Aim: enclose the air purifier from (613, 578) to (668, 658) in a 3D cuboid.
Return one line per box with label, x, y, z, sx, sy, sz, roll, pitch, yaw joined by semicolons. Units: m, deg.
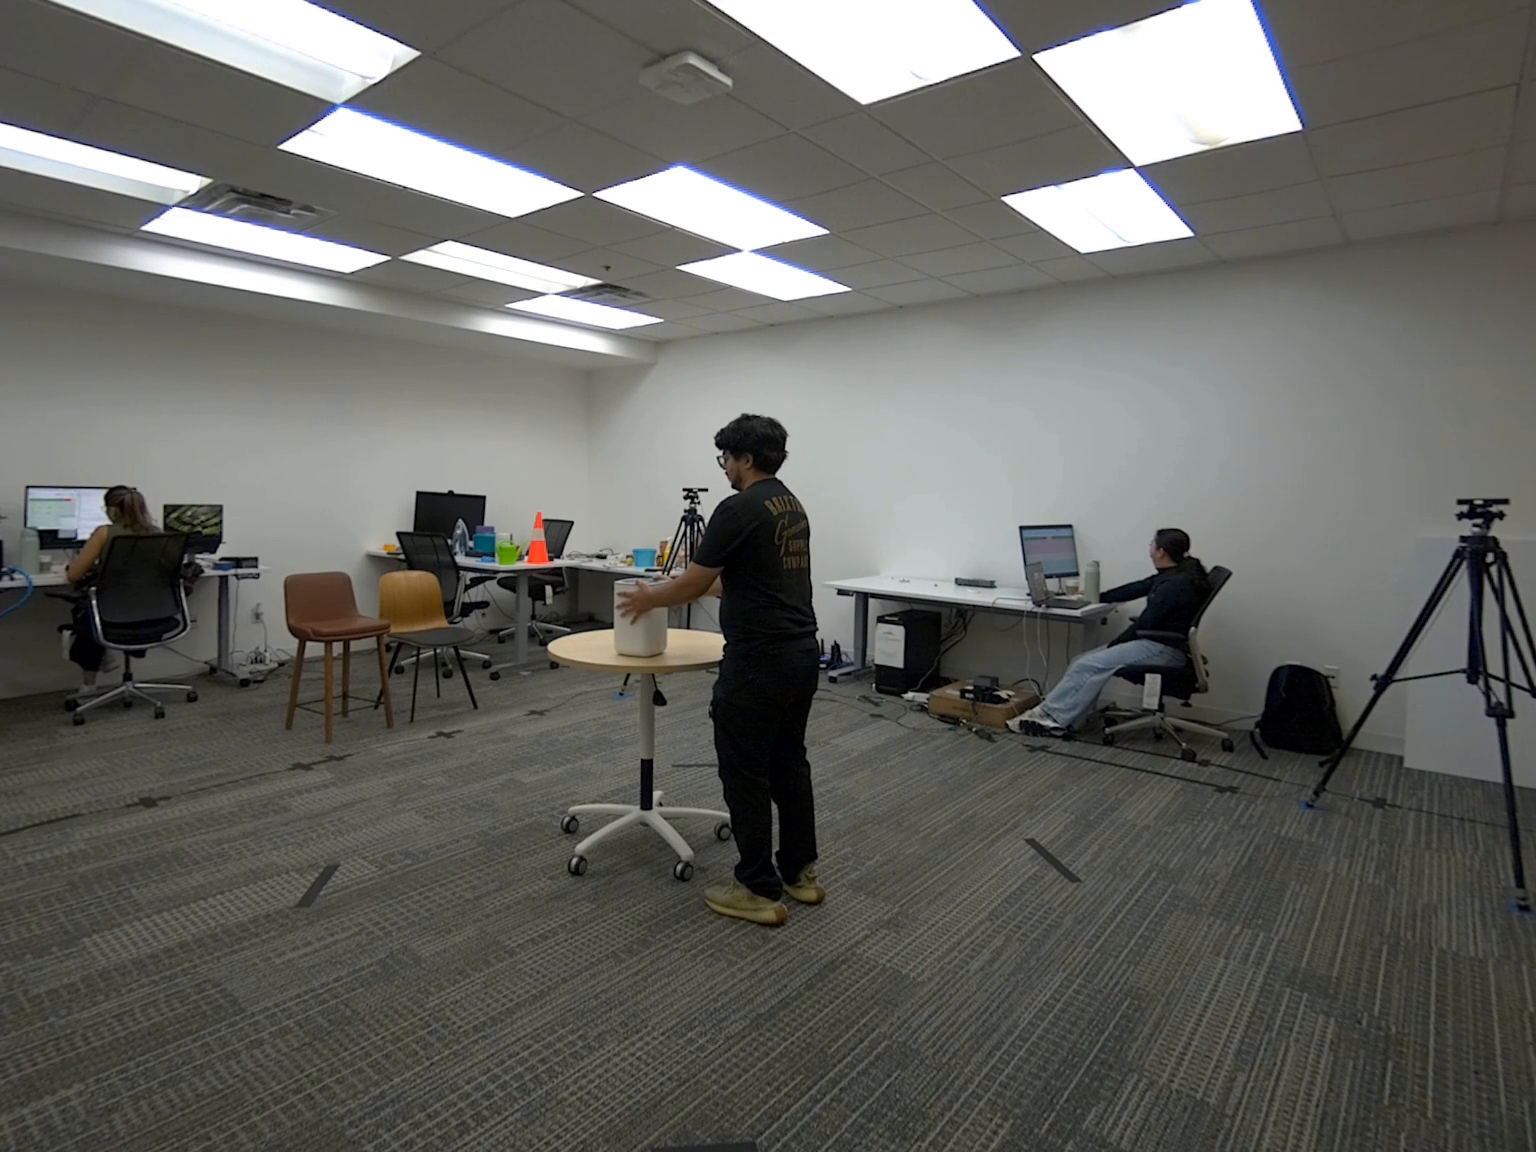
air purifier;-0.474;0.149;3.118;0.175;0.264;0.168;2;4;22
